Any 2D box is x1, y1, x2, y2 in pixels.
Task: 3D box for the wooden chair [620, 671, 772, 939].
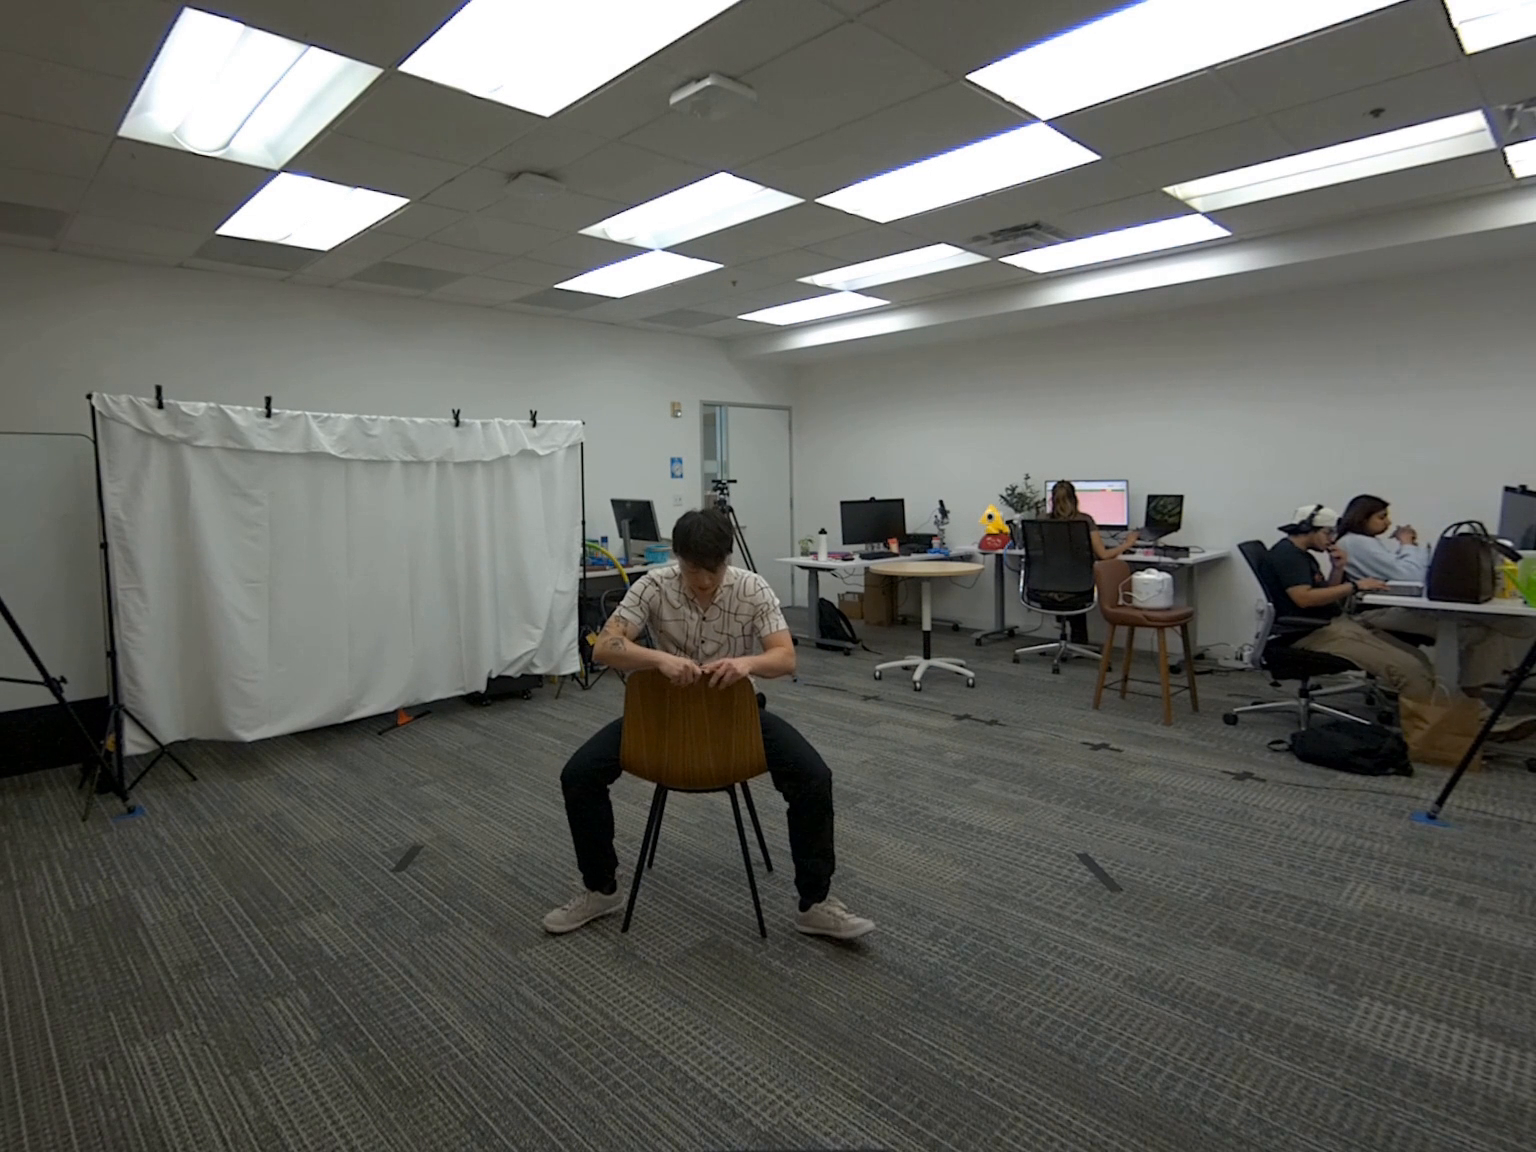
[{"bbox_3d":[-0.225,0.664,2.830,0.480,0.870,0.525,-1,9,4],"label":"wooden chair"}]
